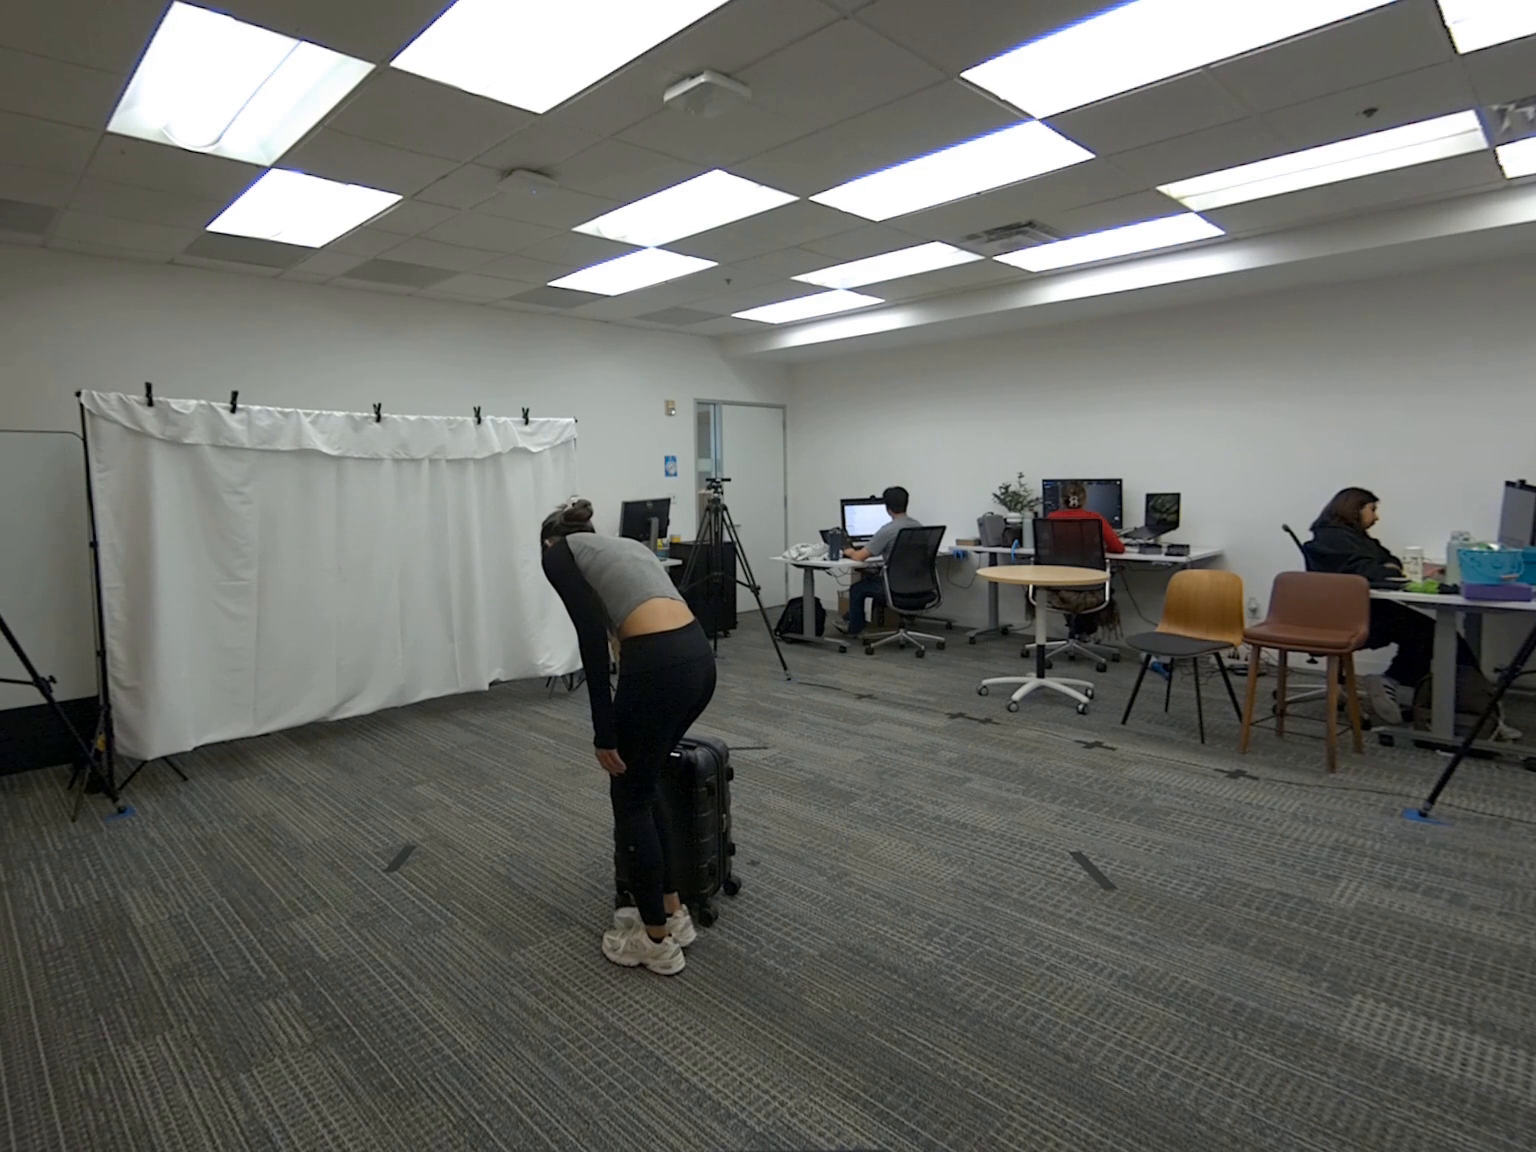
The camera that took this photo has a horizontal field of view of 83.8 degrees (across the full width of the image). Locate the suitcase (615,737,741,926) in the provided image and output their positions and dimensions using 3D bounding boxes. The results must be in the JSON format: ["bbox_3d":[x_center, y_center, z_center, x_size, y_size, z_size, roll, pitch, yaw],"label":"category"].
[{"bbox_3d":[-0.313,0.800,2.835,0.383,0.548,0.244,-1,2,21],"label":"suitcase"}]
